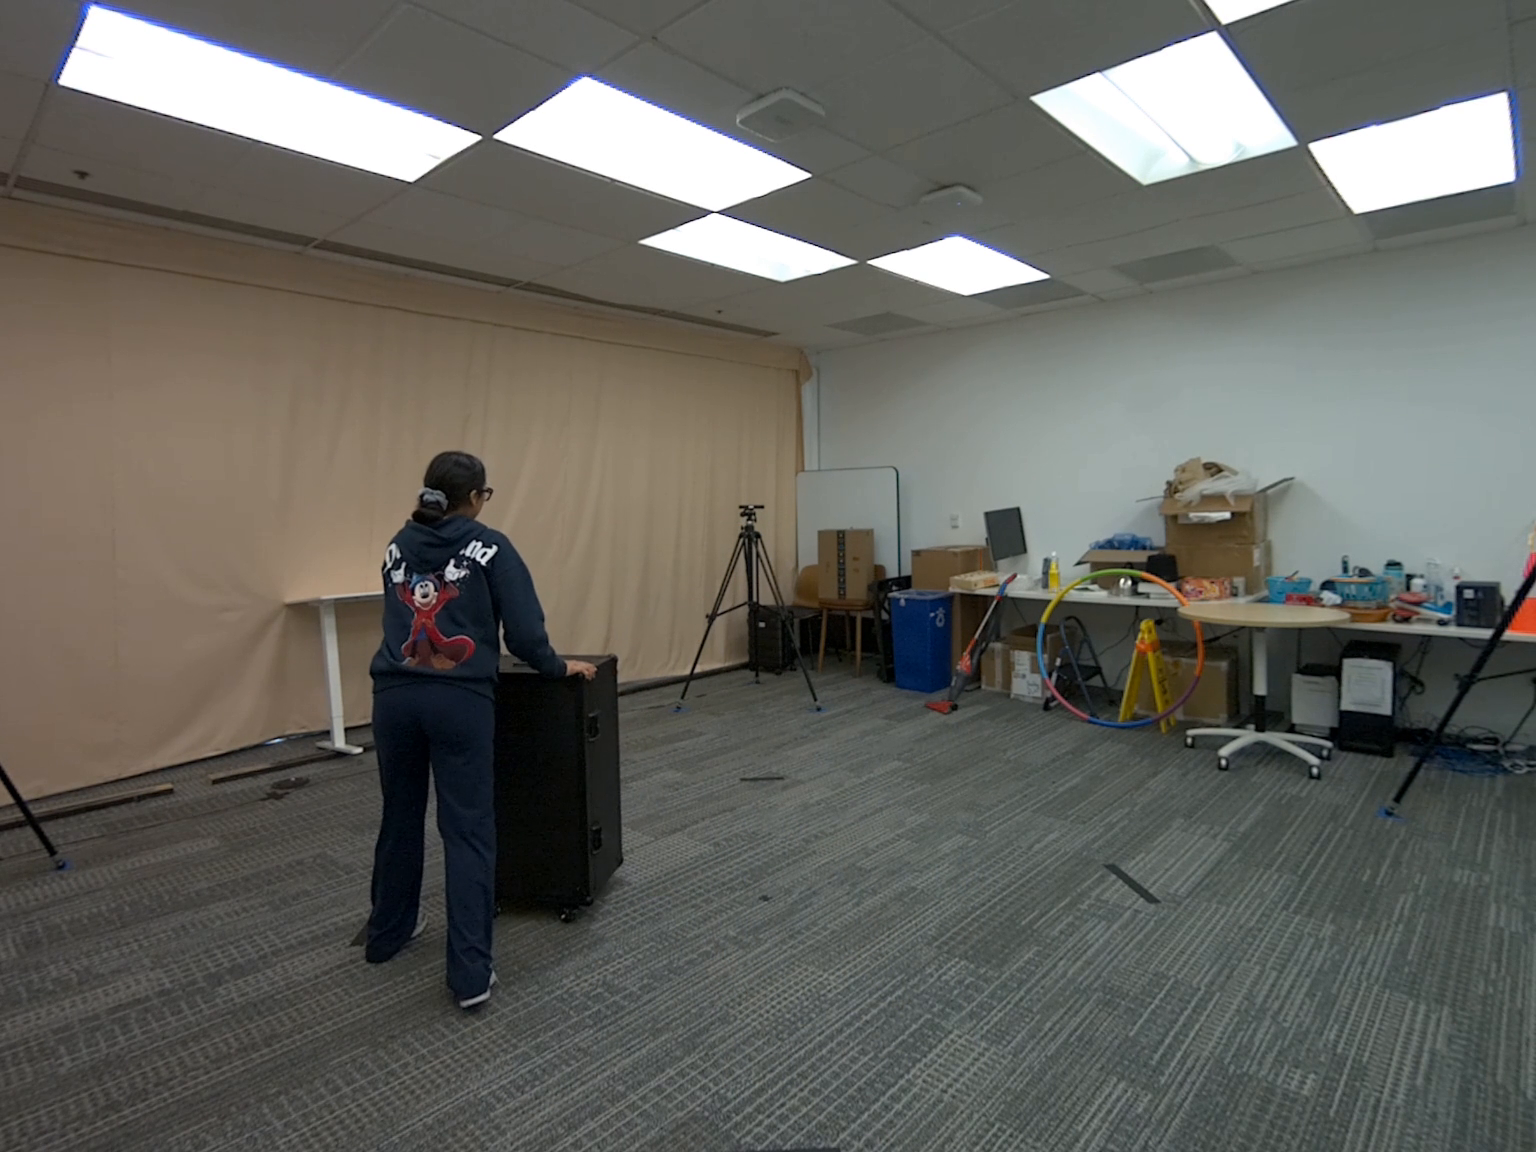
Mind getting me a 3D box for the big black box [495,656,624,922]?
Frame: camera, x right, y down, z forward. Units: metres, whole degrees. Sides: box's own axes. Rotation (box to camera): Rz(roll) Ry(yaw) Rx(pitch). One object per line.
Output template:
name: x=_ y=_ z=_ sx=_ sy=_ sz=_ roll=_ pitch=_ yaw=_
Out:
big black box: x=-0.813 y=0.732 z=3.018 sx=0.528 sy=0.861 sz=0.391 roll=0 pitch=1 yaw=11
